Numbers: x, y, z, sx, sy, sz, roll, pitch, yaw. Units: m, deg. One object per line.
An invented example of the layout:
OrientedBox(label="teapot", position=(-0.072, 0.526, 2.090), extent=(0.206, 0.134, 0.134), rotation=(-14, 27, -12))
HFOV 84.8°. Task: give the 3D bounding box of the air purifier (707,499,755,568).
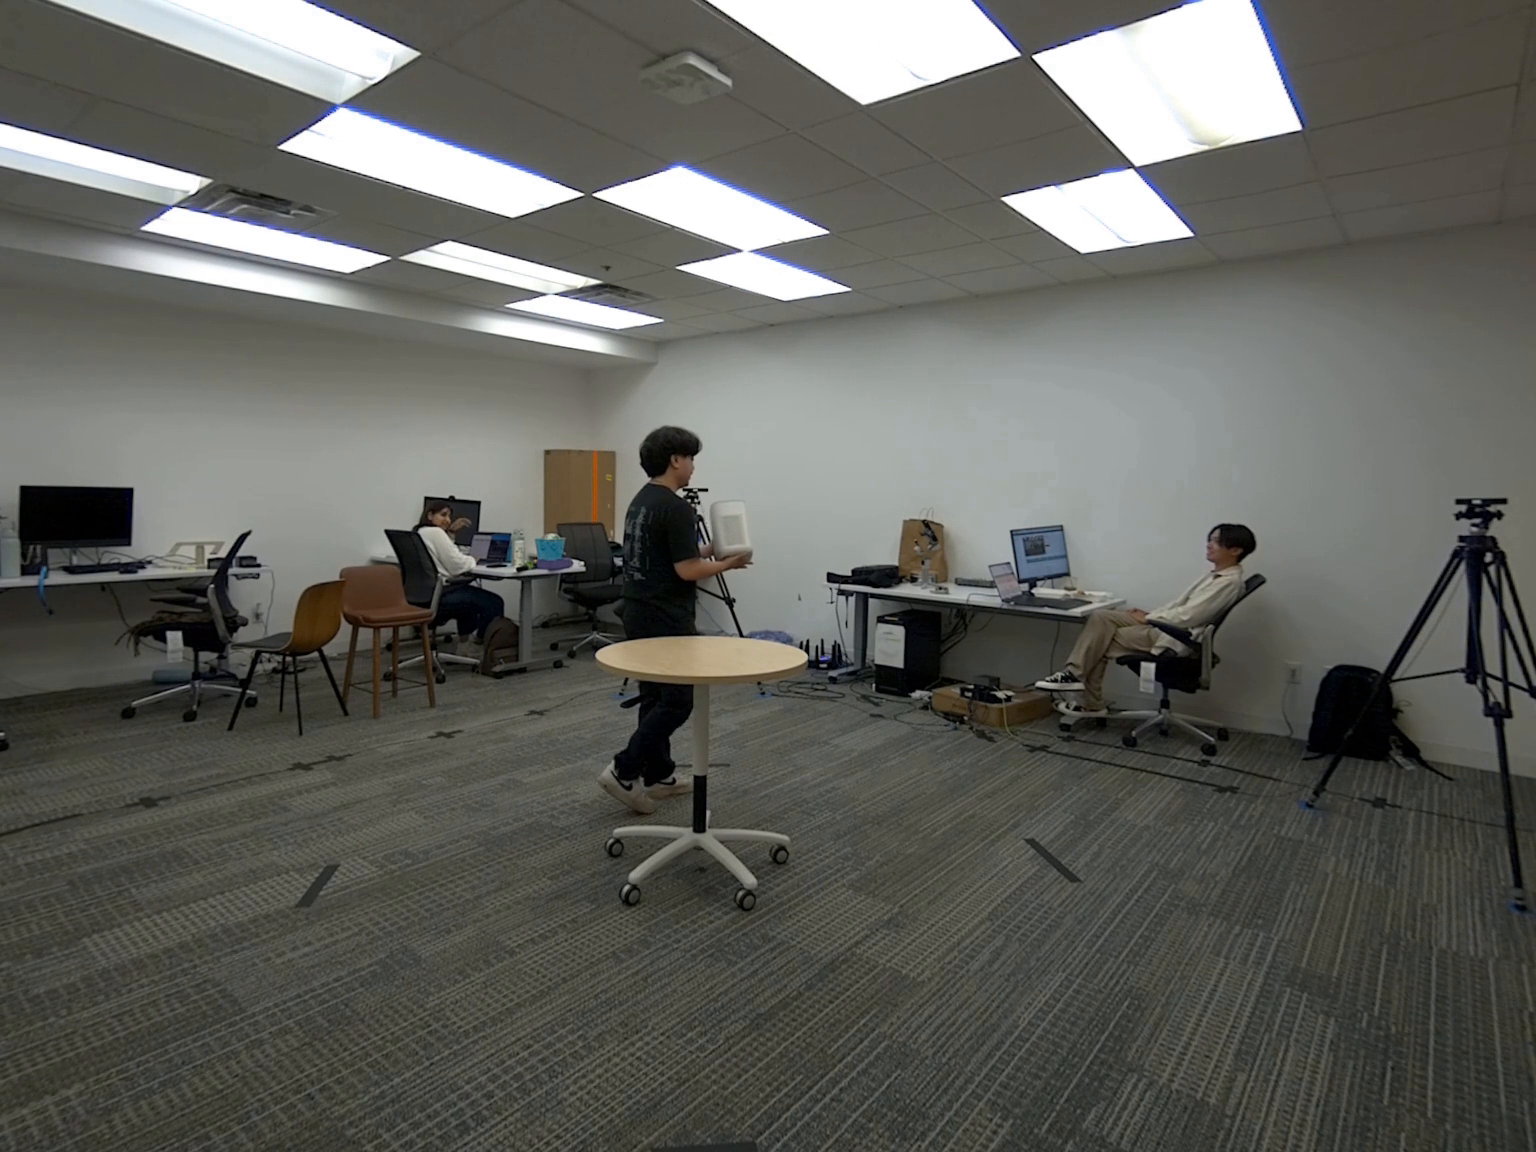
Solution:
OrientedBox(label="air purifier", position=(-0.179, -0.192, 3.901), extent=(0.170, 0.272, 0.168), rotation=(-6, -26, -8))
